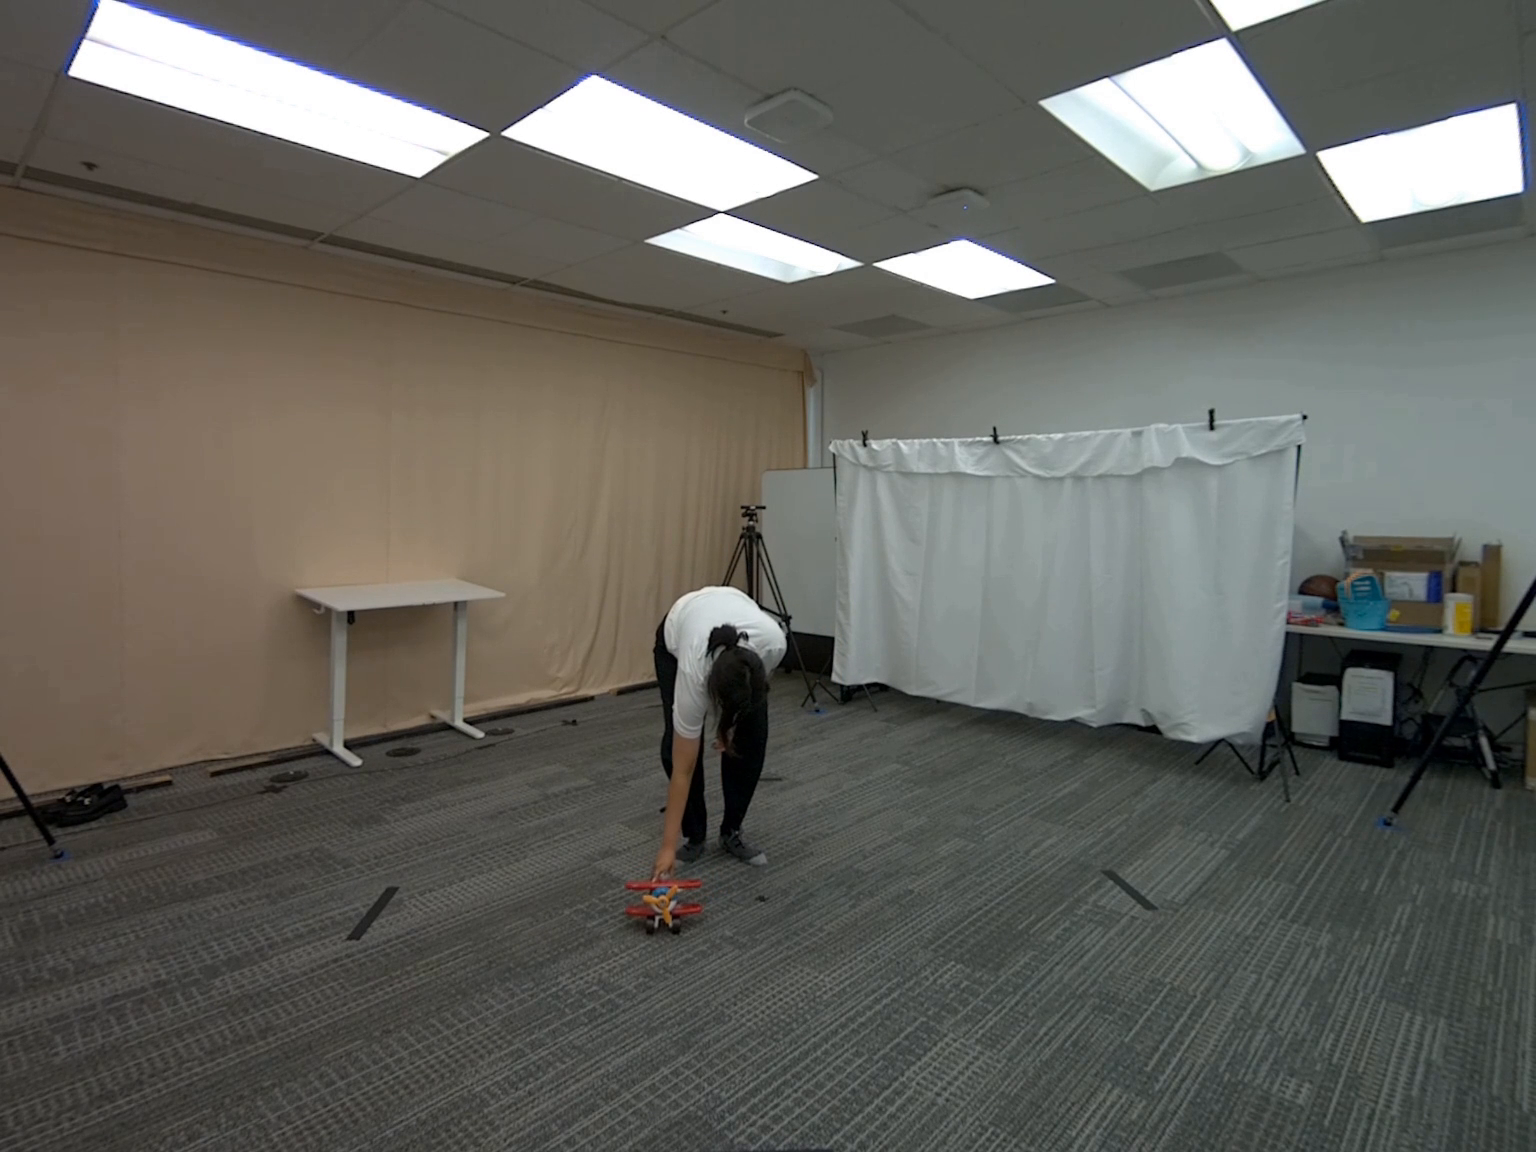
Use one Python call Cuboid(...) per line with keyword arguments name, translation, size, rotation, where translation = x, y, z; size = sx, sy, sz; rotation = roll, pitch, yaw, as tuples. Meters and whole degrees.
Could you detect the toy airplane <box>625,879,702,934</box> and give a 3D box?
Cuboid(name="toy airplane", translation=(-0.367, 1.081, 2.836), size=(0.244, 0.156, 0.267), rotation=(-5, 6, -30))
